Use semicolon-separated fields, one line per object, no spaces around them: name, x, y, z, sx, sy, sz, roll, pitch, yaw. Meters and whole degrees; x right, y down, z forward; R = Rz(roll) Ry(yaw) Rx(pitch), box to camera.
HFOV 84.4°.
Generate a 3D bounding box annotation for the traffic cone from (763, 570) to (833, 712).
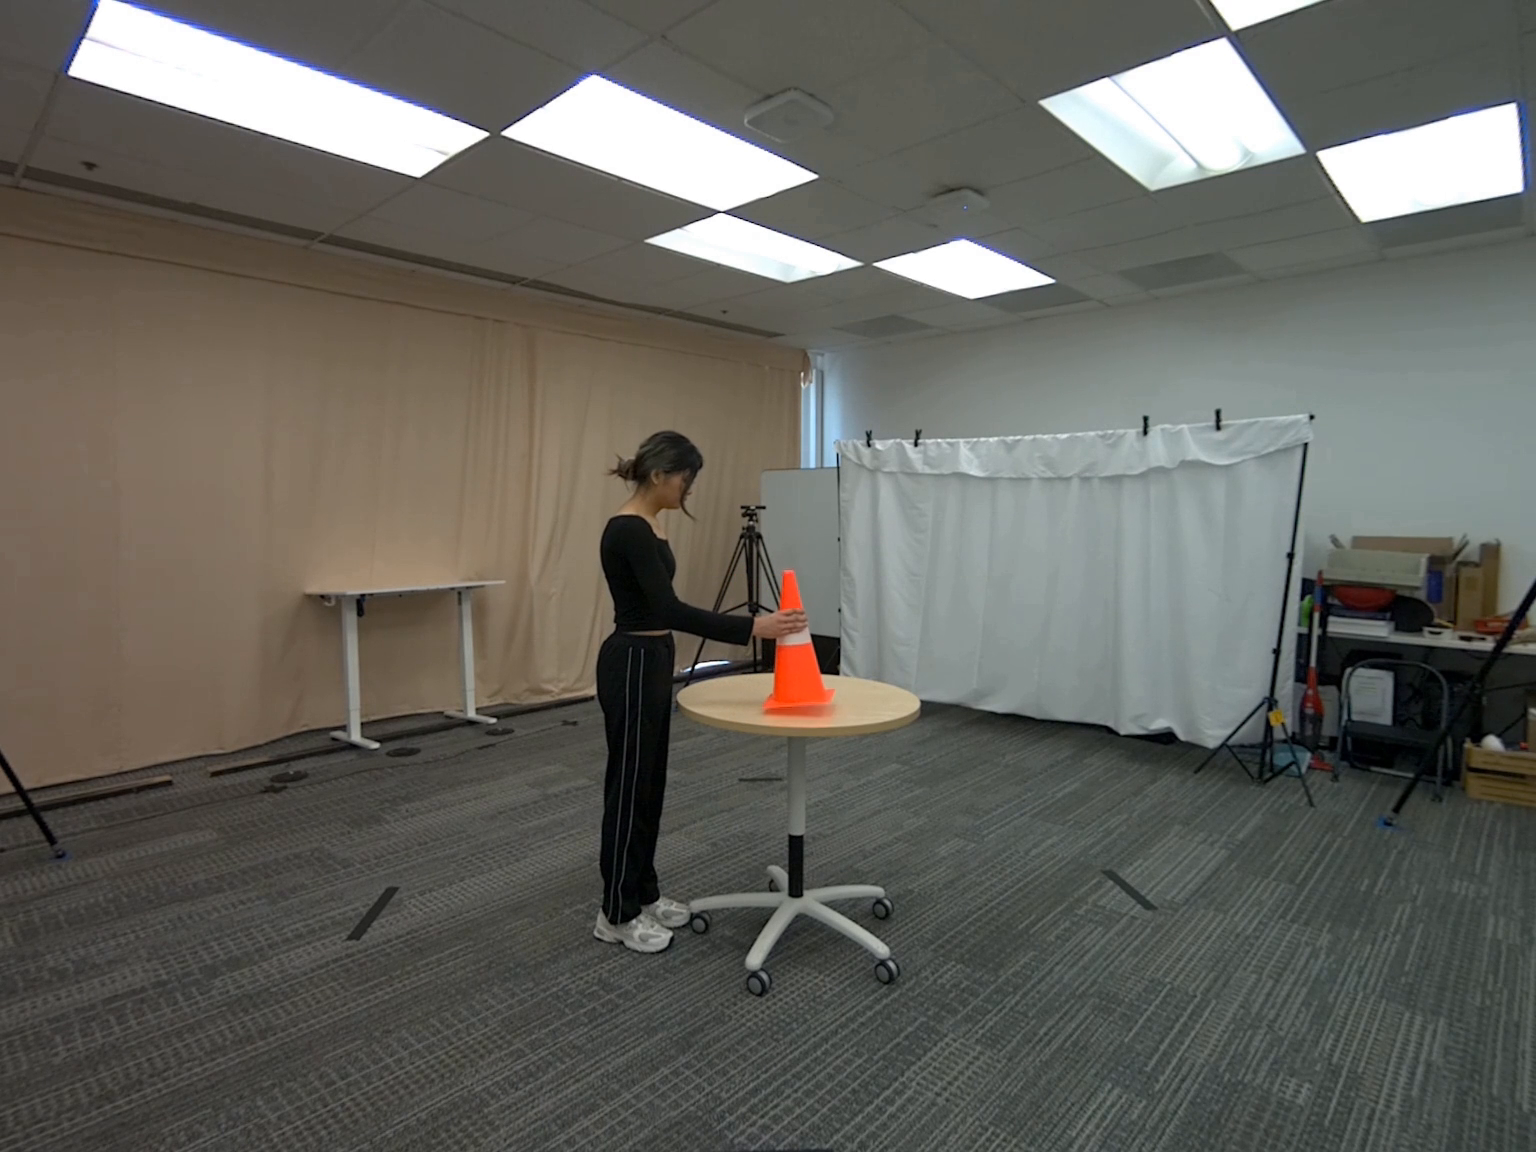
traffic cone;0.068;0.178;2.496;0.206;0.383;0.203;-6;3;11
